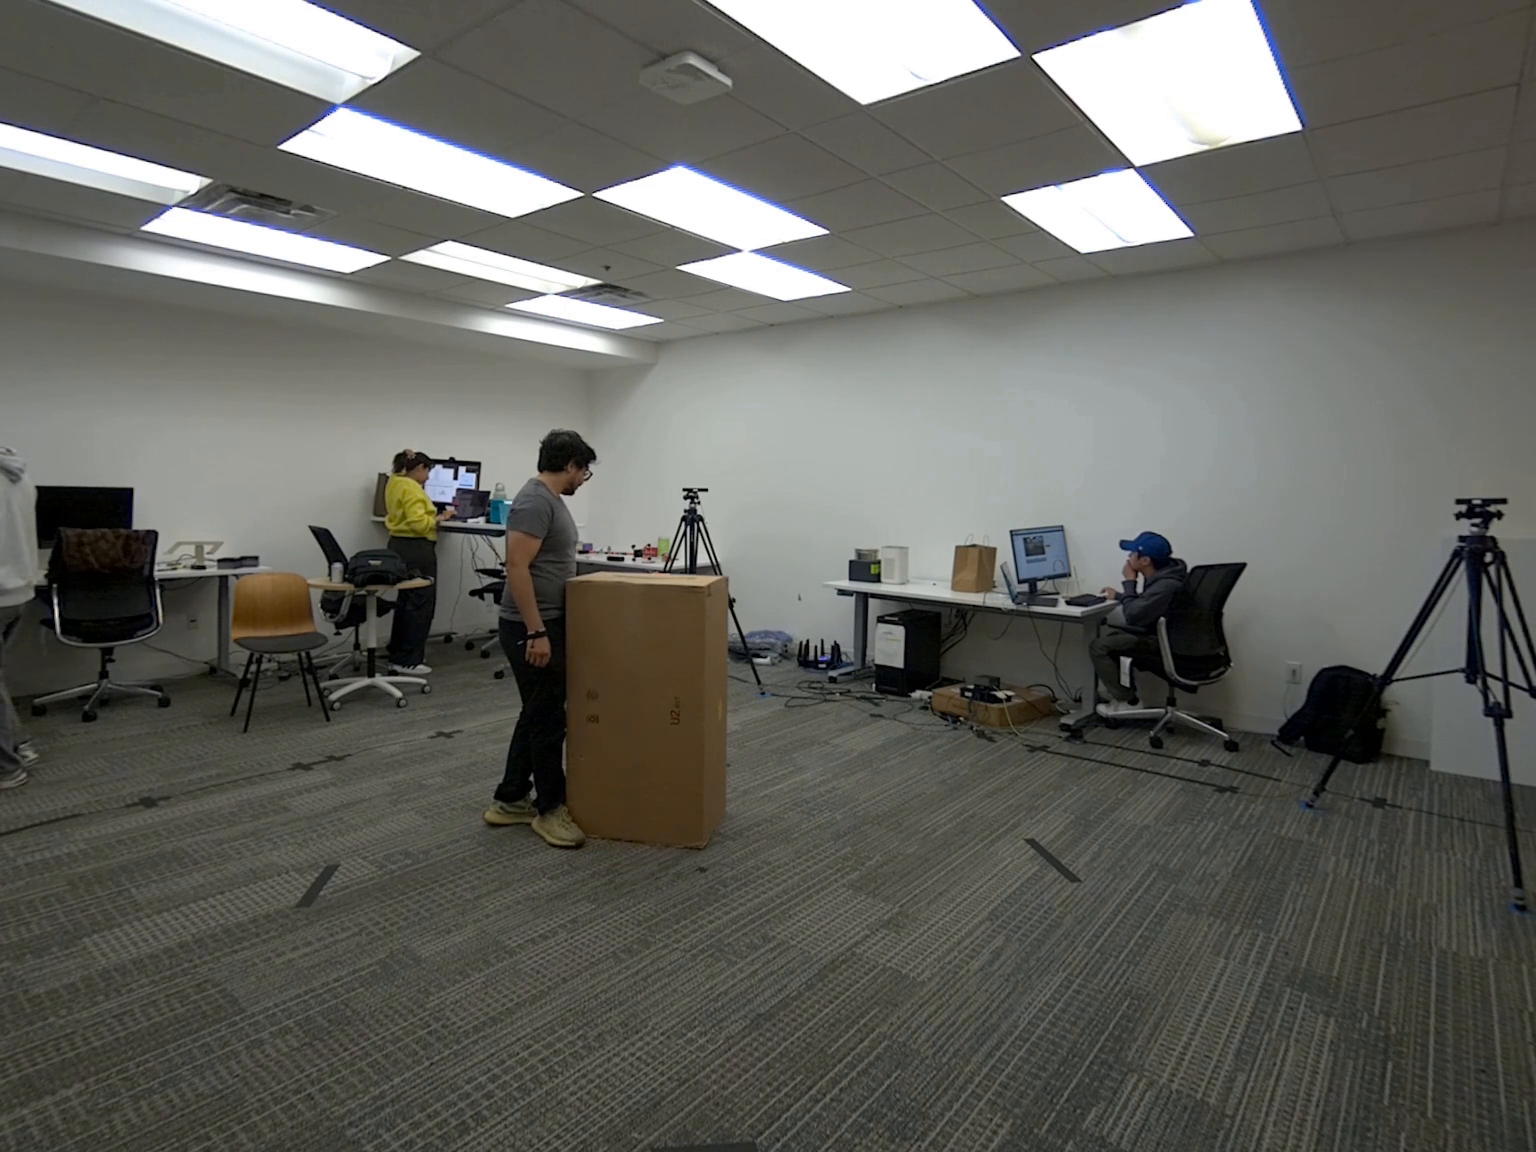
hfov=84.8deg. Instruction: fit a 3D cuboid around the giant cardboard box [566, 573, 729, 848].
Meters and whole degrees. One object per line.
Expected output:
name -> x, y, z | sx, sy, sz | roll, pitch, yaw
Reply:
giant cardboard box -> -0.497, 0.519, 3.522 | 0.592, 1.023, 0.443 | 2, 4, 11
